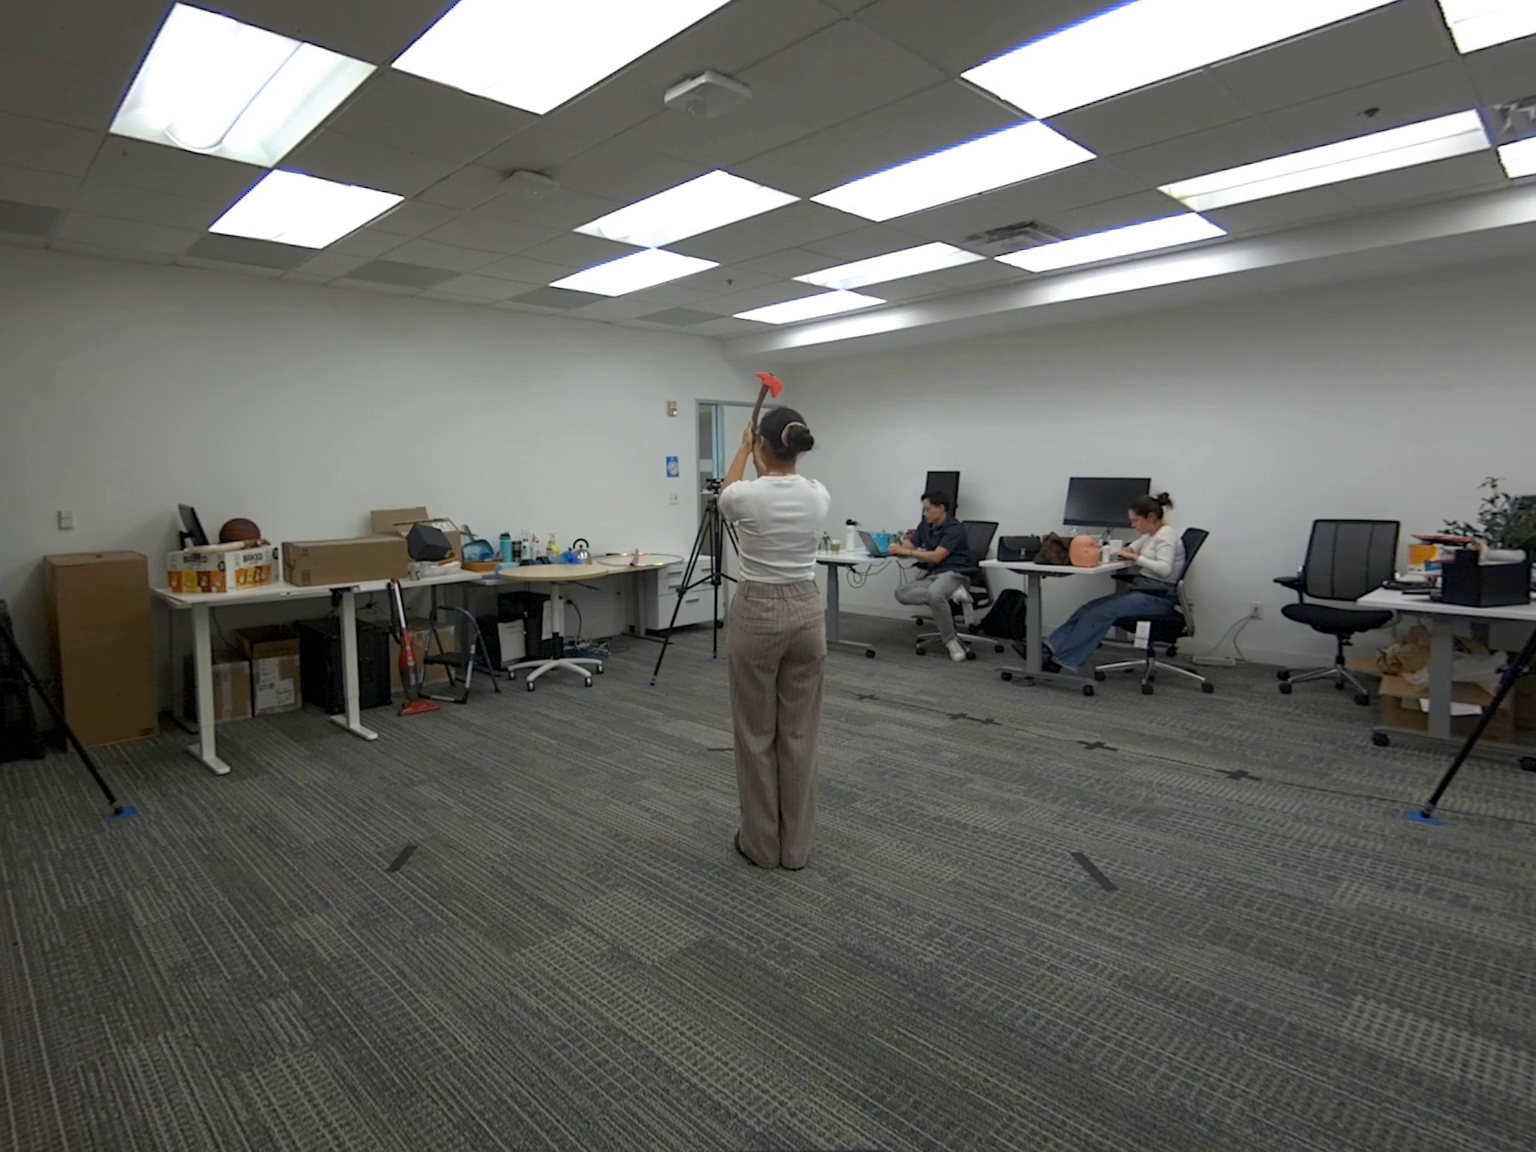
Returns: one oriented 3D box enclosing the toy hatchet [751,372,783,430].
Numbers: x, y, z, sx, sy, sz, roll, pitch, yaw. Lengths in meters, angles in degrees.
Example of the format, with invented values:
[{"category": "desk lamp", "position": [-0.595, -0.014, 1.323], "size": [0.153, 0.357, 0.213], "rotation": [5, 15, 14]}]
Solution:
[{"category": "toy hatchet", "position": [-0.015, -0.666, 3.354], "size": [0.128, 0.268, 0.030], "rotation": [-1, 7, -32]}]
